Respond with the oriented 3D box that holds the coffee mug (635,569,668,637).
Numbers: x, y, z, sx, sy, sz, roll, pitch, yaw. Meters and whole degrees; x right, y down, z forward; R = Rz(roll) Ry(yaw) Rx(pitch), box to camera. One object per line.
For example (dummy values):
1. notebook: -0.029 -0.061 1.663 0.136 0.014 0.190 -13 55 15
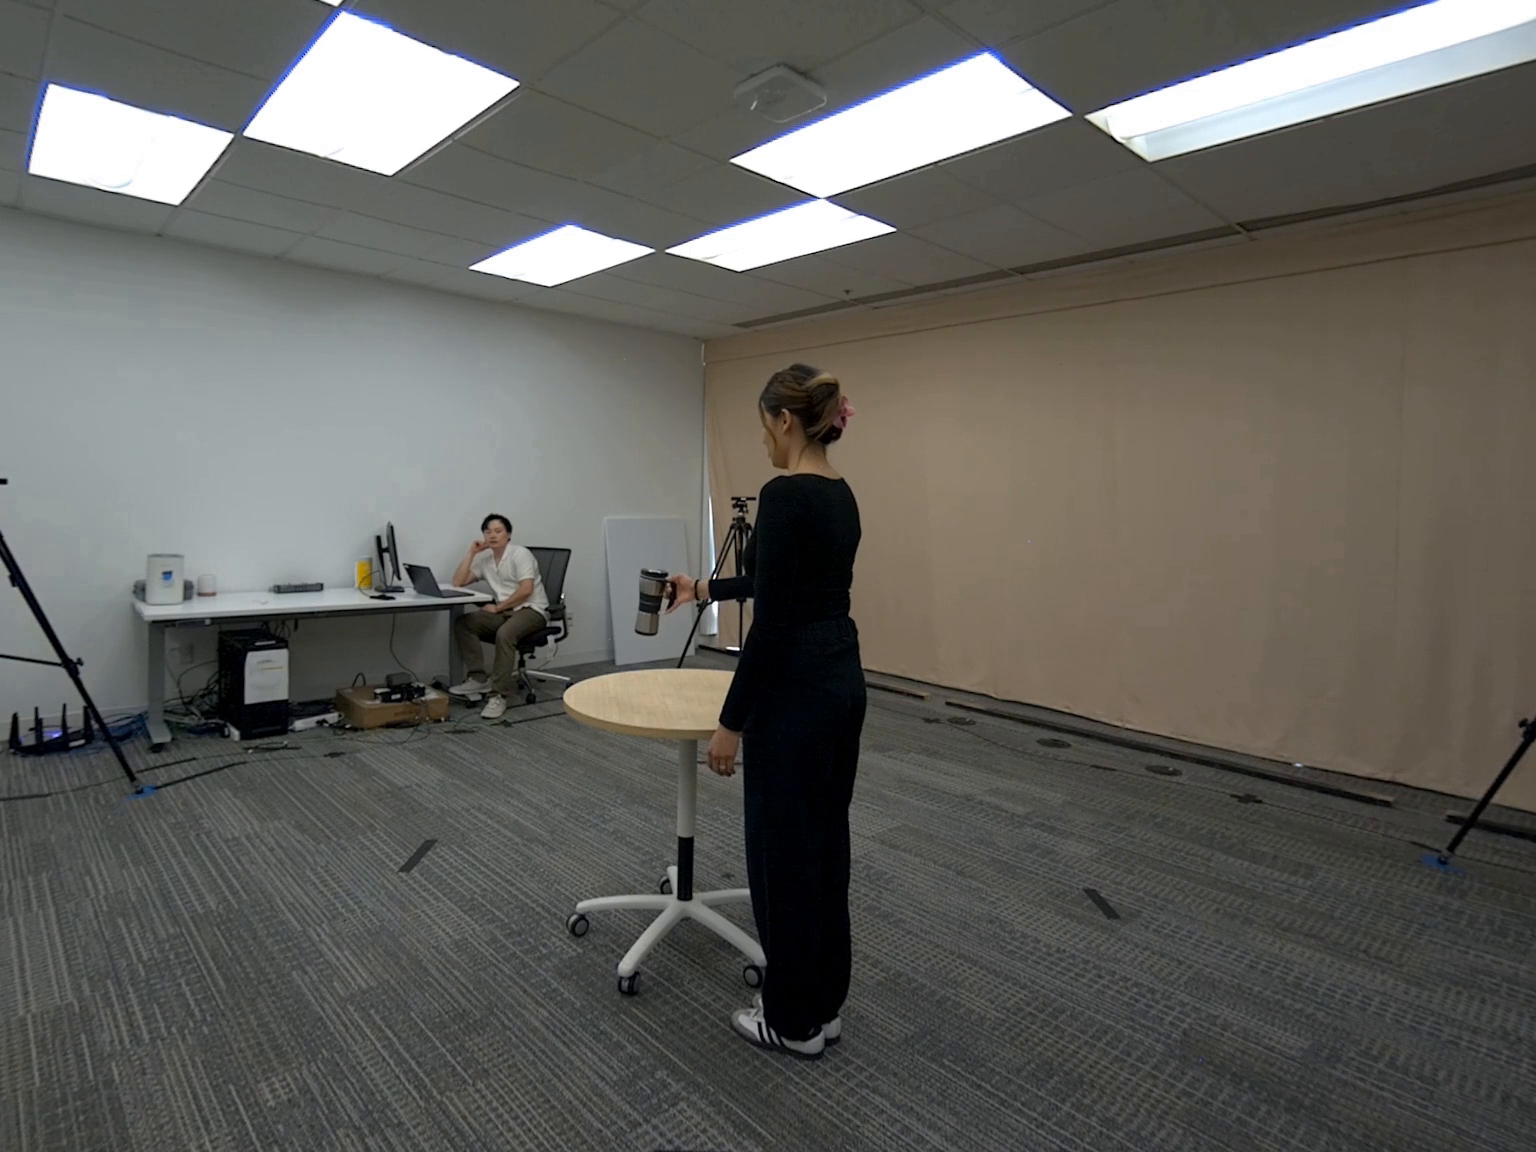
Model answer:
1. coffee mug: -0.351 0.087 2.587 0.086 0.202 0.125 3 9 -37
